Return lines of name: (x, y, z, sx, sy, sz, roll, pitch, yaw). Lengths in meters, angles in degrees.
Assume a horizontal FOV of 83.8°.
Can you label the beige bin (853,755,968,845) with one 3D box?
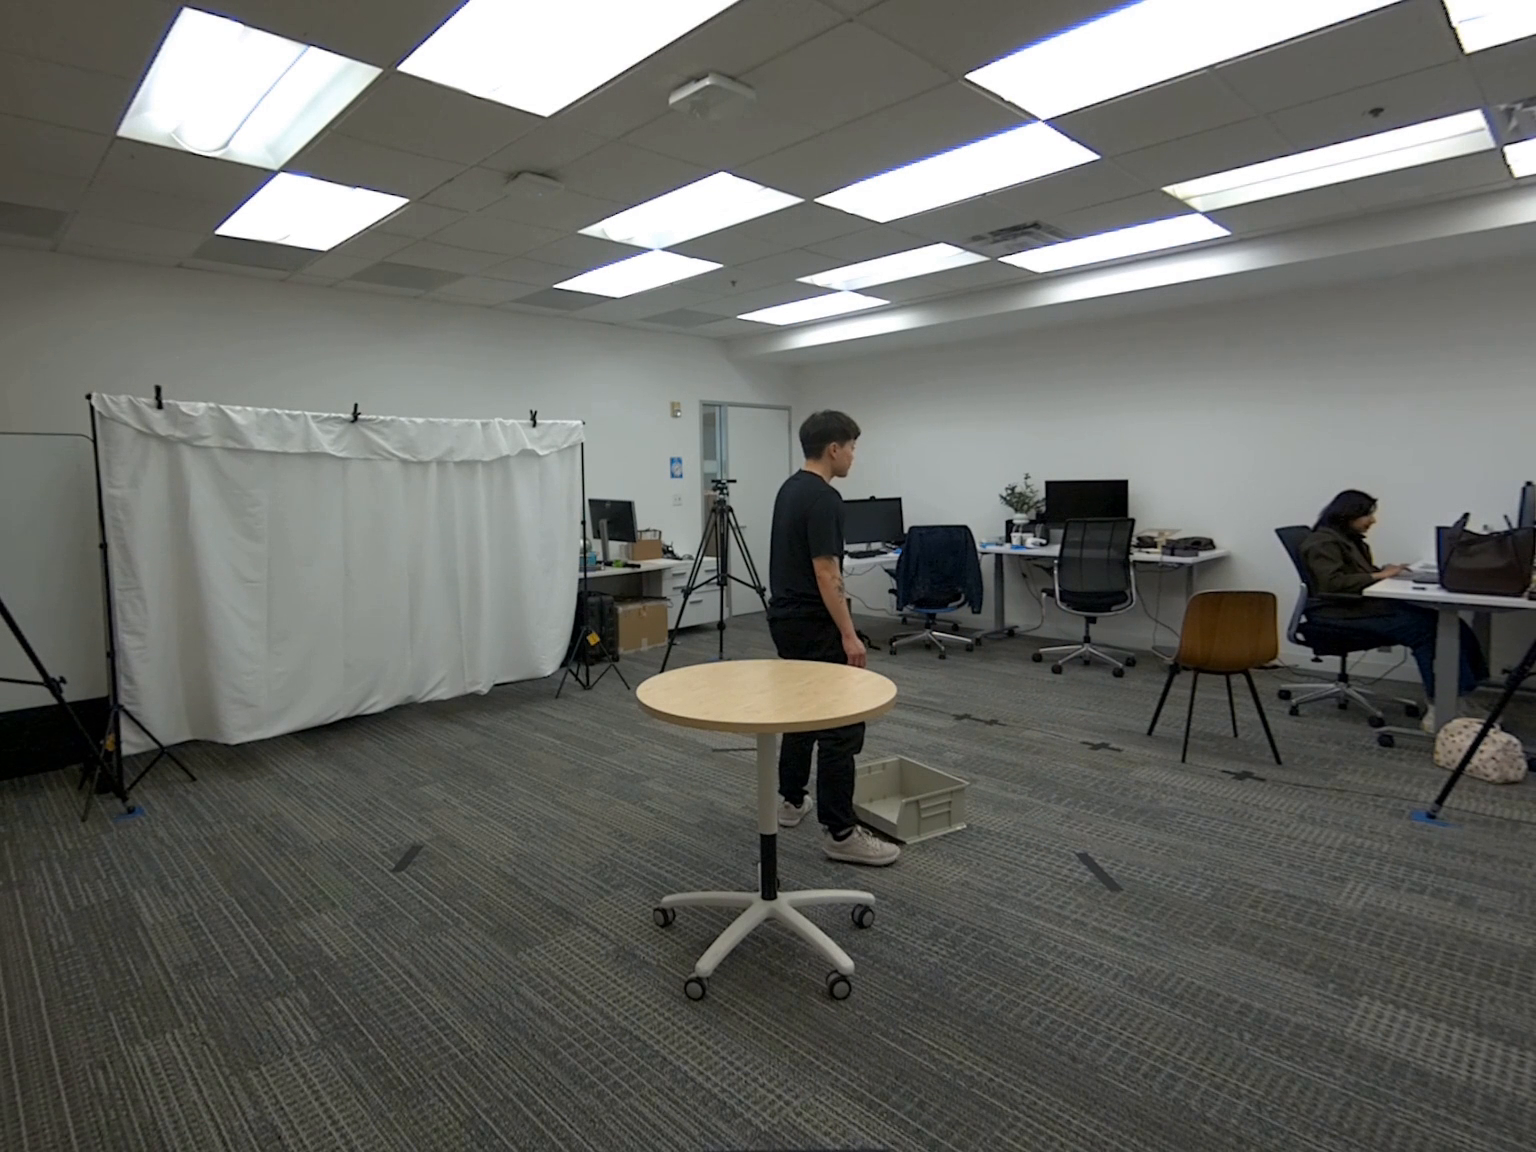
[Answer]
beige bin: (0.536, 0.909, 3.484, 0.368, 0.188, 0.434, -4, 6, -31)
